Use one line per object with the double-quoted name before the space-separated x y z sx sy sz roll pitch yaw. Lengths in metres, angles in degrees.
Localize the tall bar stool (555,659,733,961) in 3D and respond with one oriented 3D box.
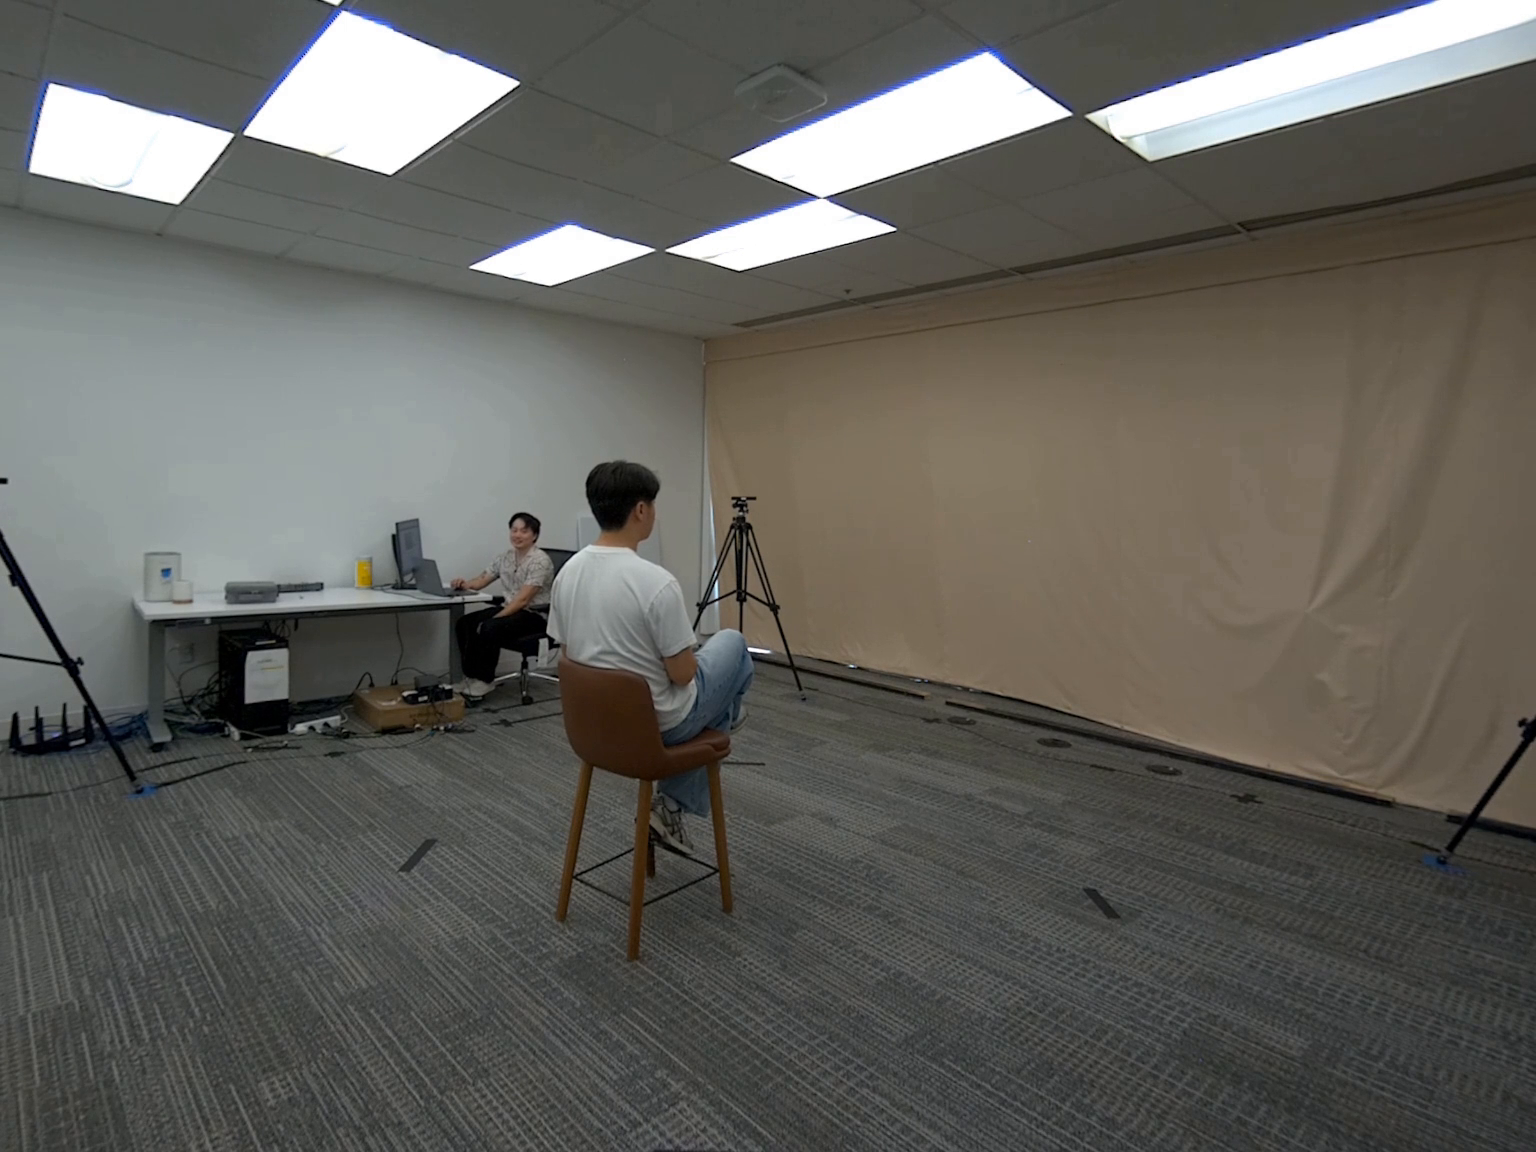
"tall bar stool" -0.421 0.698 2.771 0.468 0.887 0.458 3 6 40
